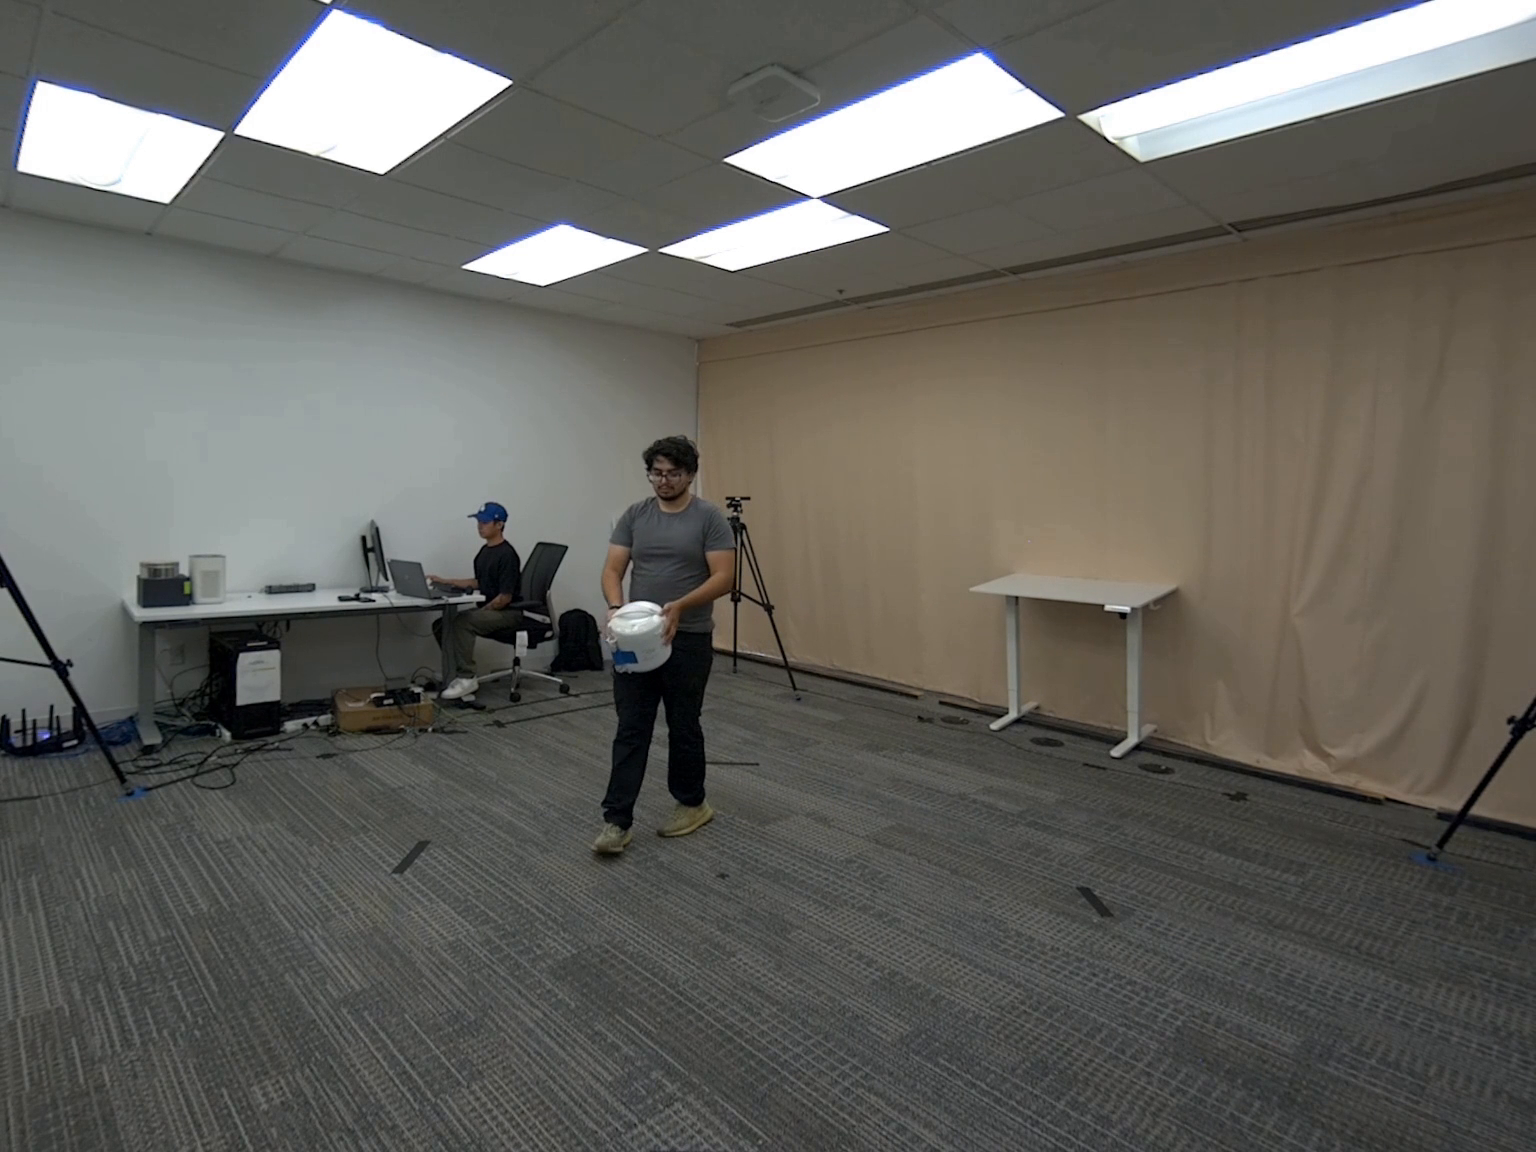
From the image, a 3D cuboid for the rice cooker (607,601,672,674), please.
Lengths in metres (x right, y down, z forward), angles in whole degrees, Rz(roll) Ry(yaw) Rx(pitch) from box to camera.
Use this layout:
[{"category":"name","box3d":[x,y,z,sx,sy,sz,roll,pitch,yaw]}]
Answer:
[{"category":"rice cooker","box3d":[-0.500,0.212,3.124,0.221,0.228,0.221,-4,31,5]}]
